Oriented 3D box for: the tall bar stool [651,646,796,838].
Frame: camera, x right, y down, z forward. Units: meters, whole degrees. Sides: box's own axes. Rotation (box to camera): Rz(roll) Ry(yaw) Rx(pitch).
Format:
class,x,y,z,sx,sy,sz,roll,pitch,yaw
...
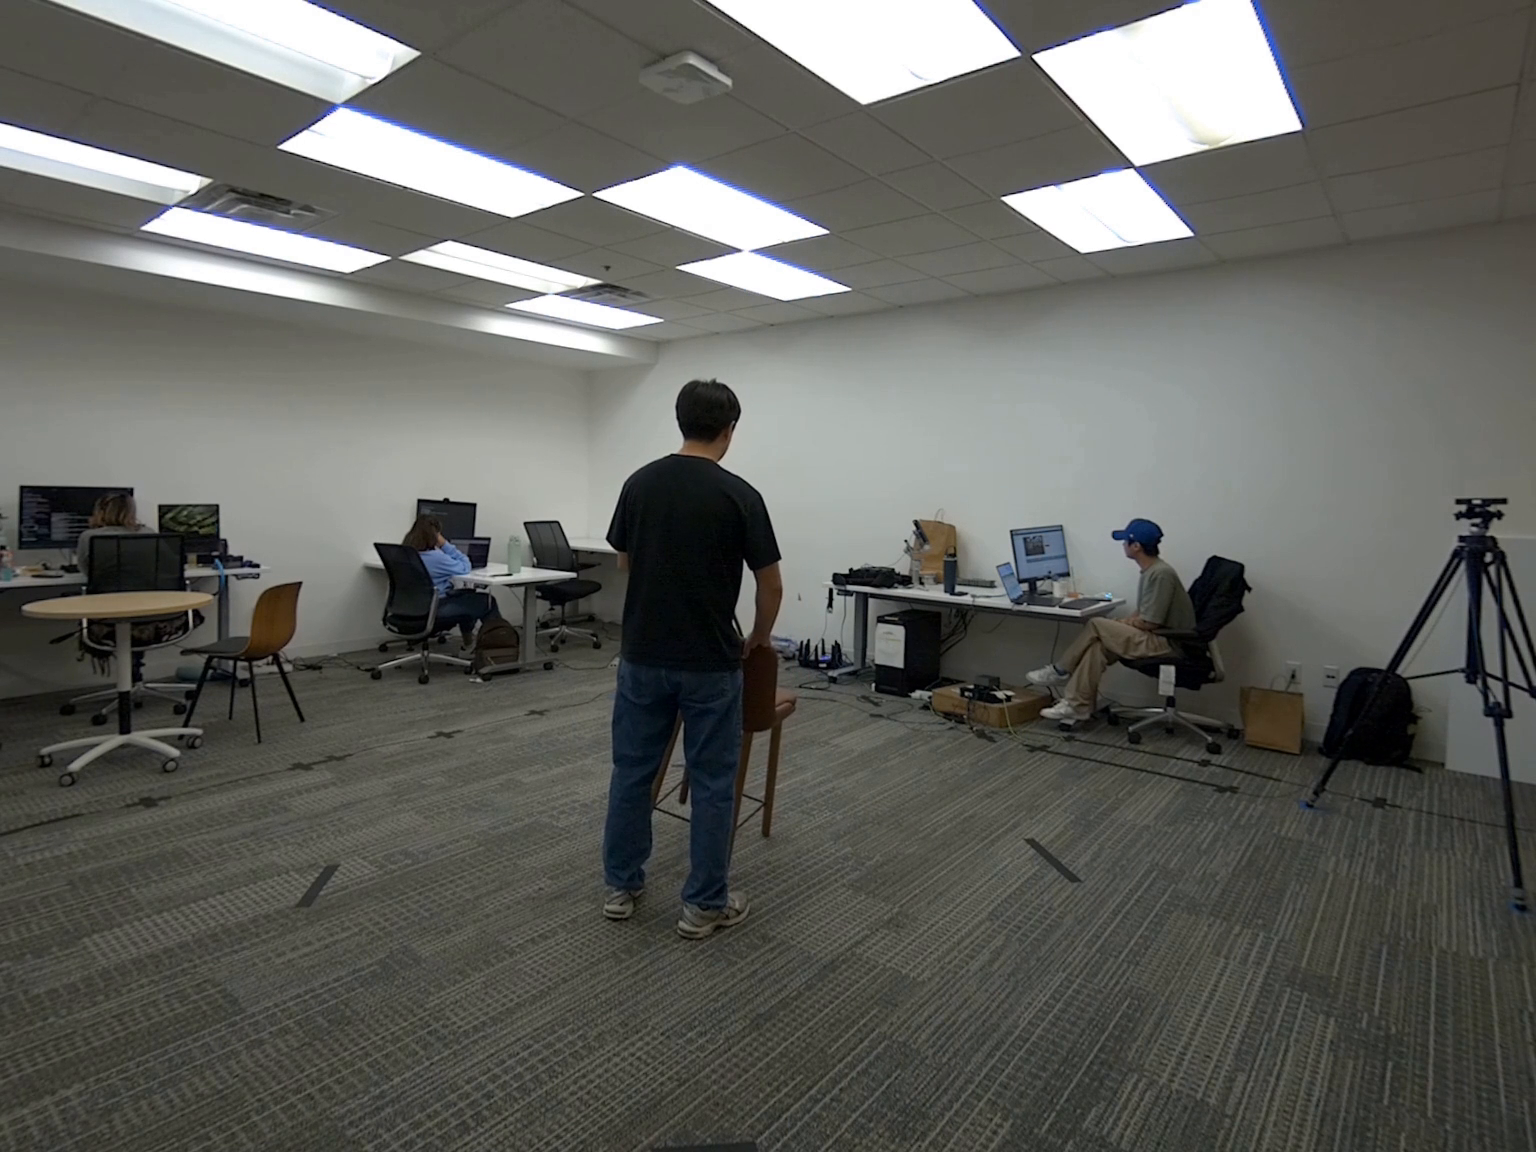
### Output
class,x,y,z,sx,sy,sz,roll,pitch,yaw
tall bar stool,-0.179,0.592,3.241,0.468,0.883,0.459,14,10,21
